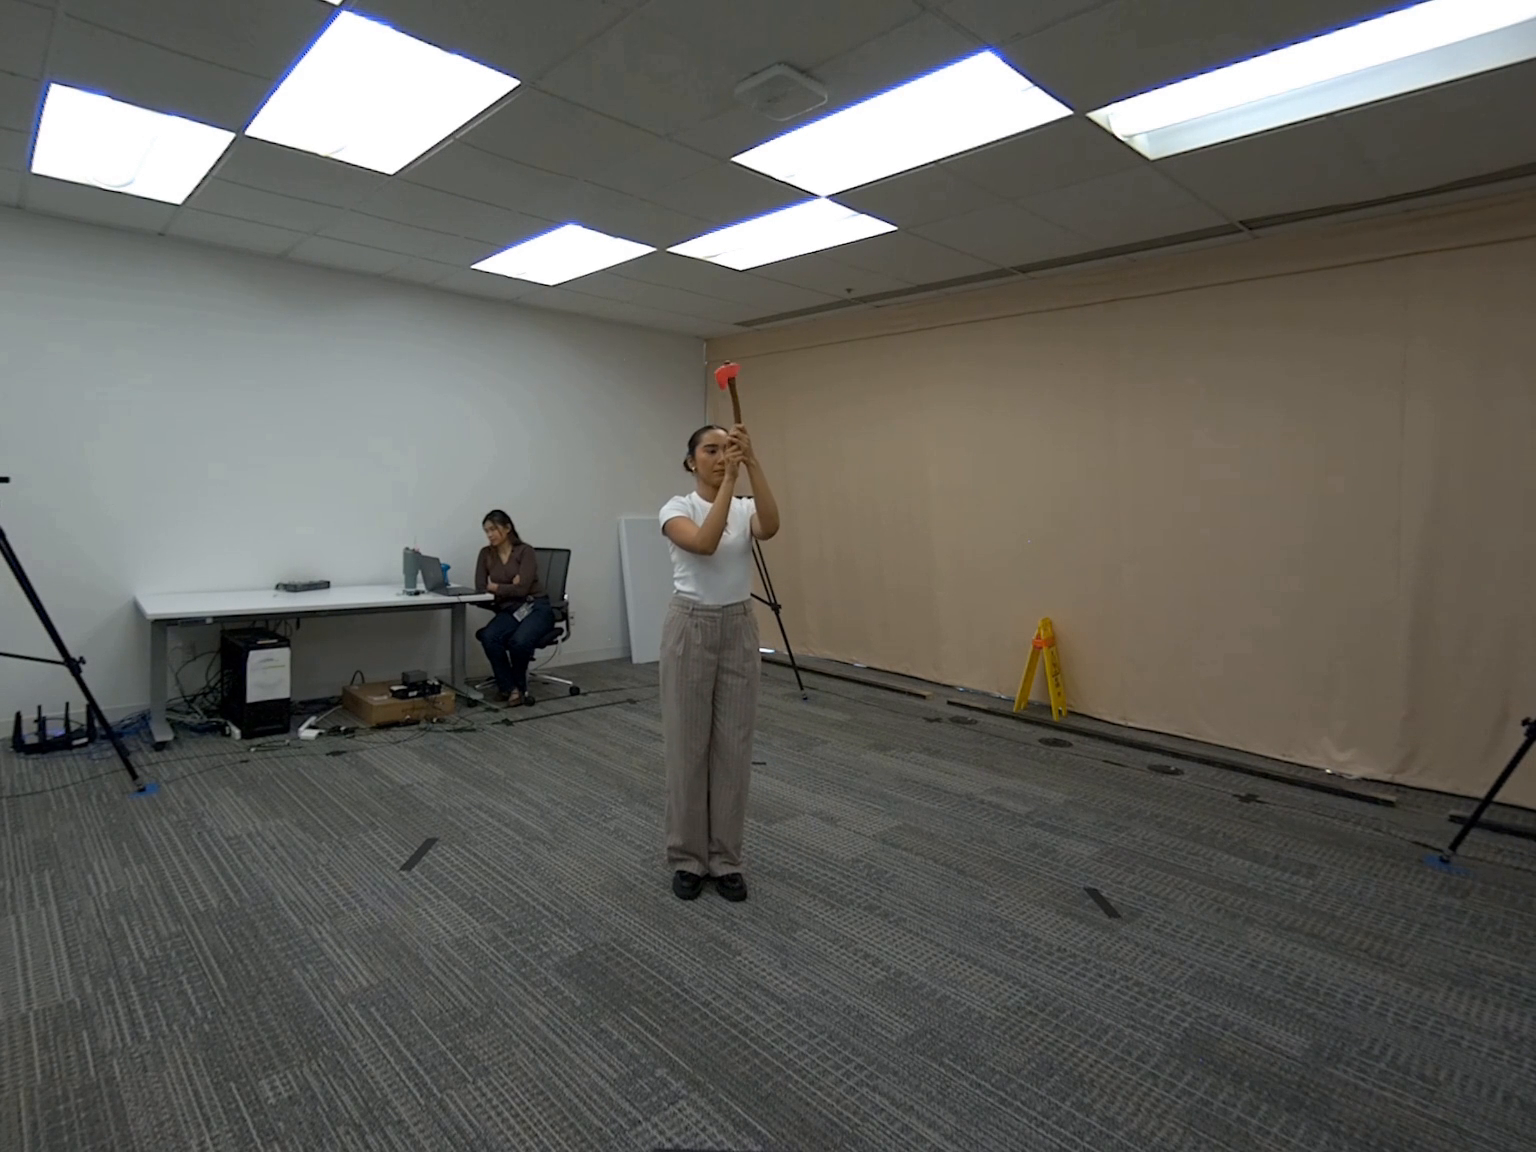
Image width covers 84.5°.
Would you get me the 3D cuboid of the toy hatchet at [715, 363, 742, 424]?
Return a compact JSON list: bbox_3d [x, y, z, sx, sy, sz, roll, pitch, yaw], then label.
[{"bbox_3d":[-0.127,-0.545,2.662,0.030,0.270,0.128,-1,0,31],"label":"toy hatchet"}]
